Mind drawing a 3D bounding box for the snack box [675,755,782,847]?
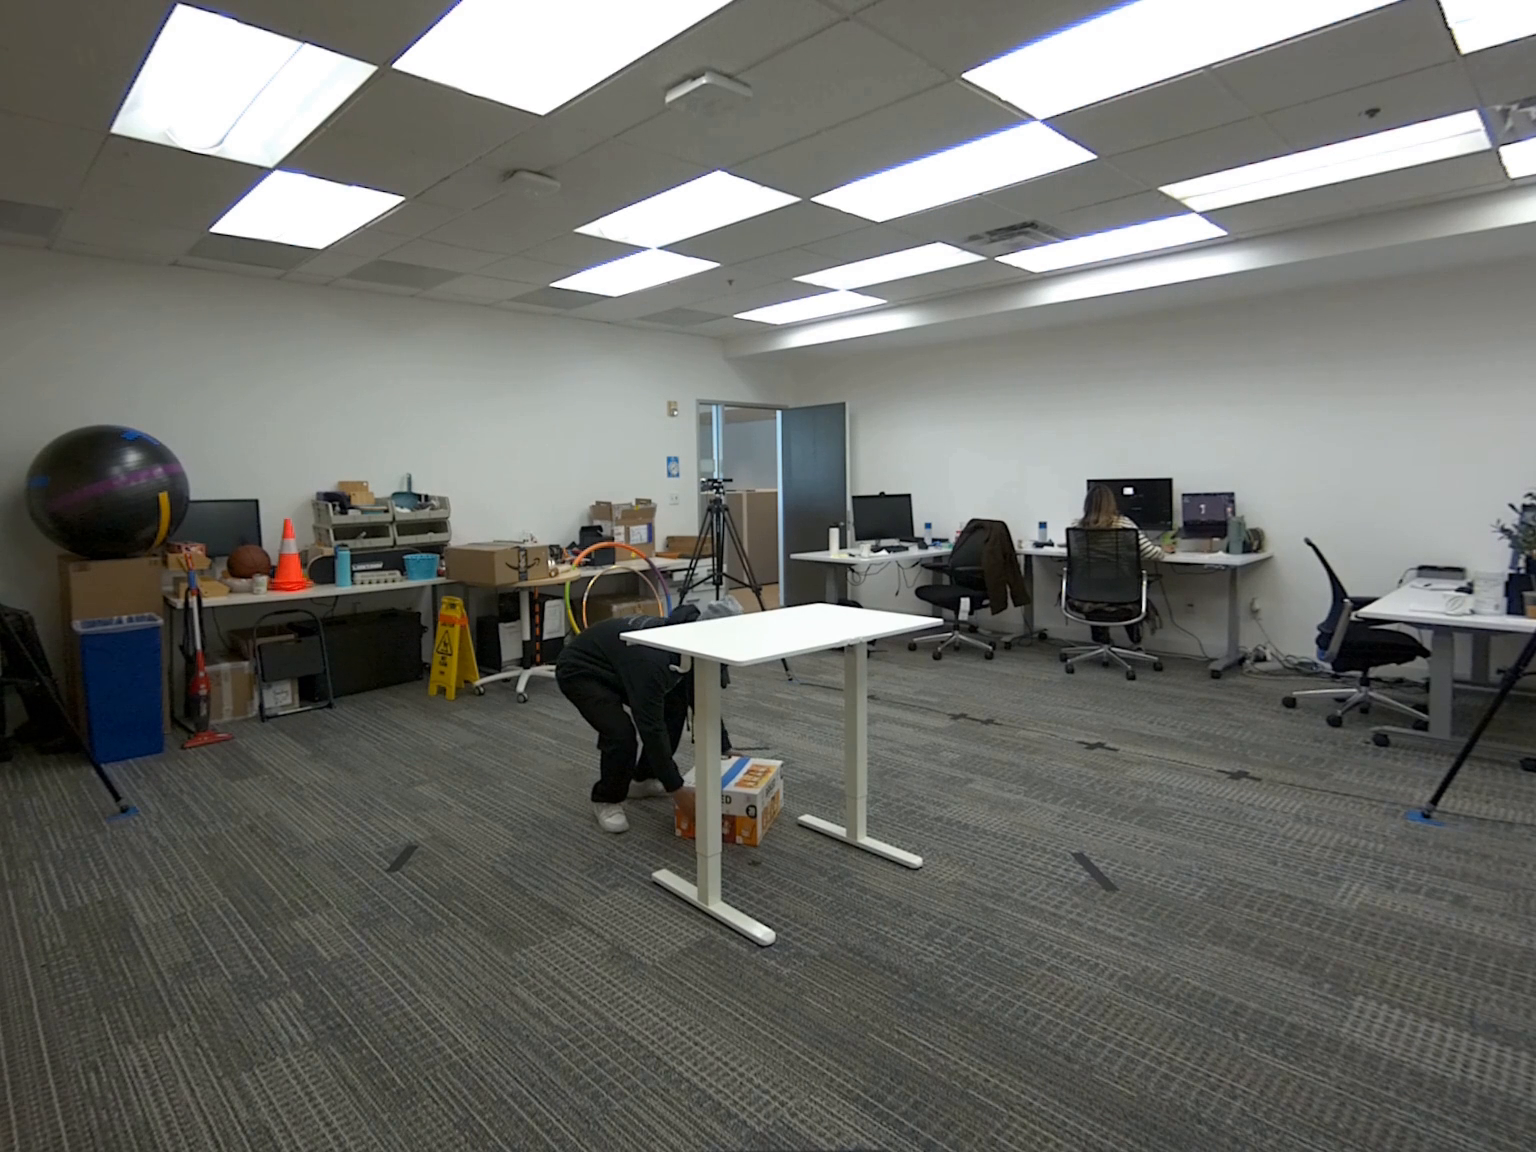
[{"bbox_3d":[-0.150,0.903,3.488,0.346,0.205,0.400,2,6,17],"label":"snack box"}]
